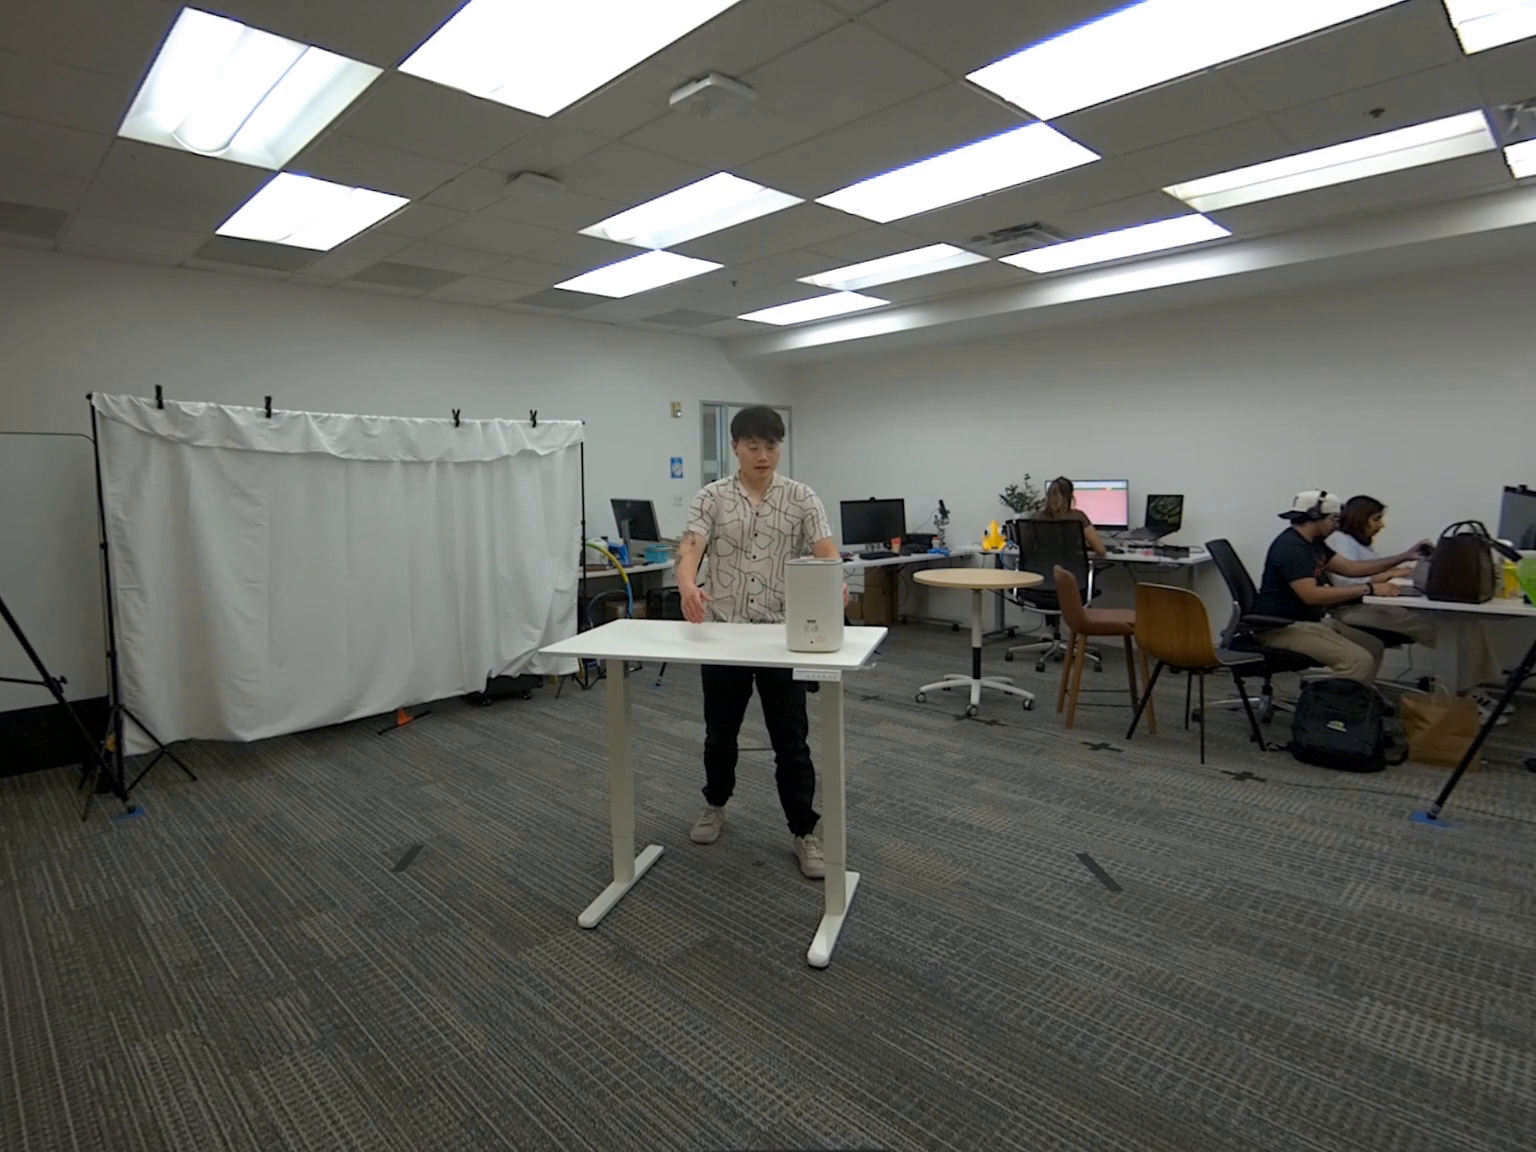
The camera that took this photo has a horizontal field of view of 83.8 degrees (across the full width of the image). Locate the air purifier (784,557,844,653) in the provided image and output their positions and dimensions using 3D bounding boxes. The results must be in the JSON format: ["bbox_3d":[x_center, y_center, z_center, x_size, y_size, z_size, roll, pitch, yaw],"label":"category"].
[{"bbox_3d":[0.129,0.091,2.584,0.173,0.264,0.170,-1,5,10],"label":"air purifier"}]
